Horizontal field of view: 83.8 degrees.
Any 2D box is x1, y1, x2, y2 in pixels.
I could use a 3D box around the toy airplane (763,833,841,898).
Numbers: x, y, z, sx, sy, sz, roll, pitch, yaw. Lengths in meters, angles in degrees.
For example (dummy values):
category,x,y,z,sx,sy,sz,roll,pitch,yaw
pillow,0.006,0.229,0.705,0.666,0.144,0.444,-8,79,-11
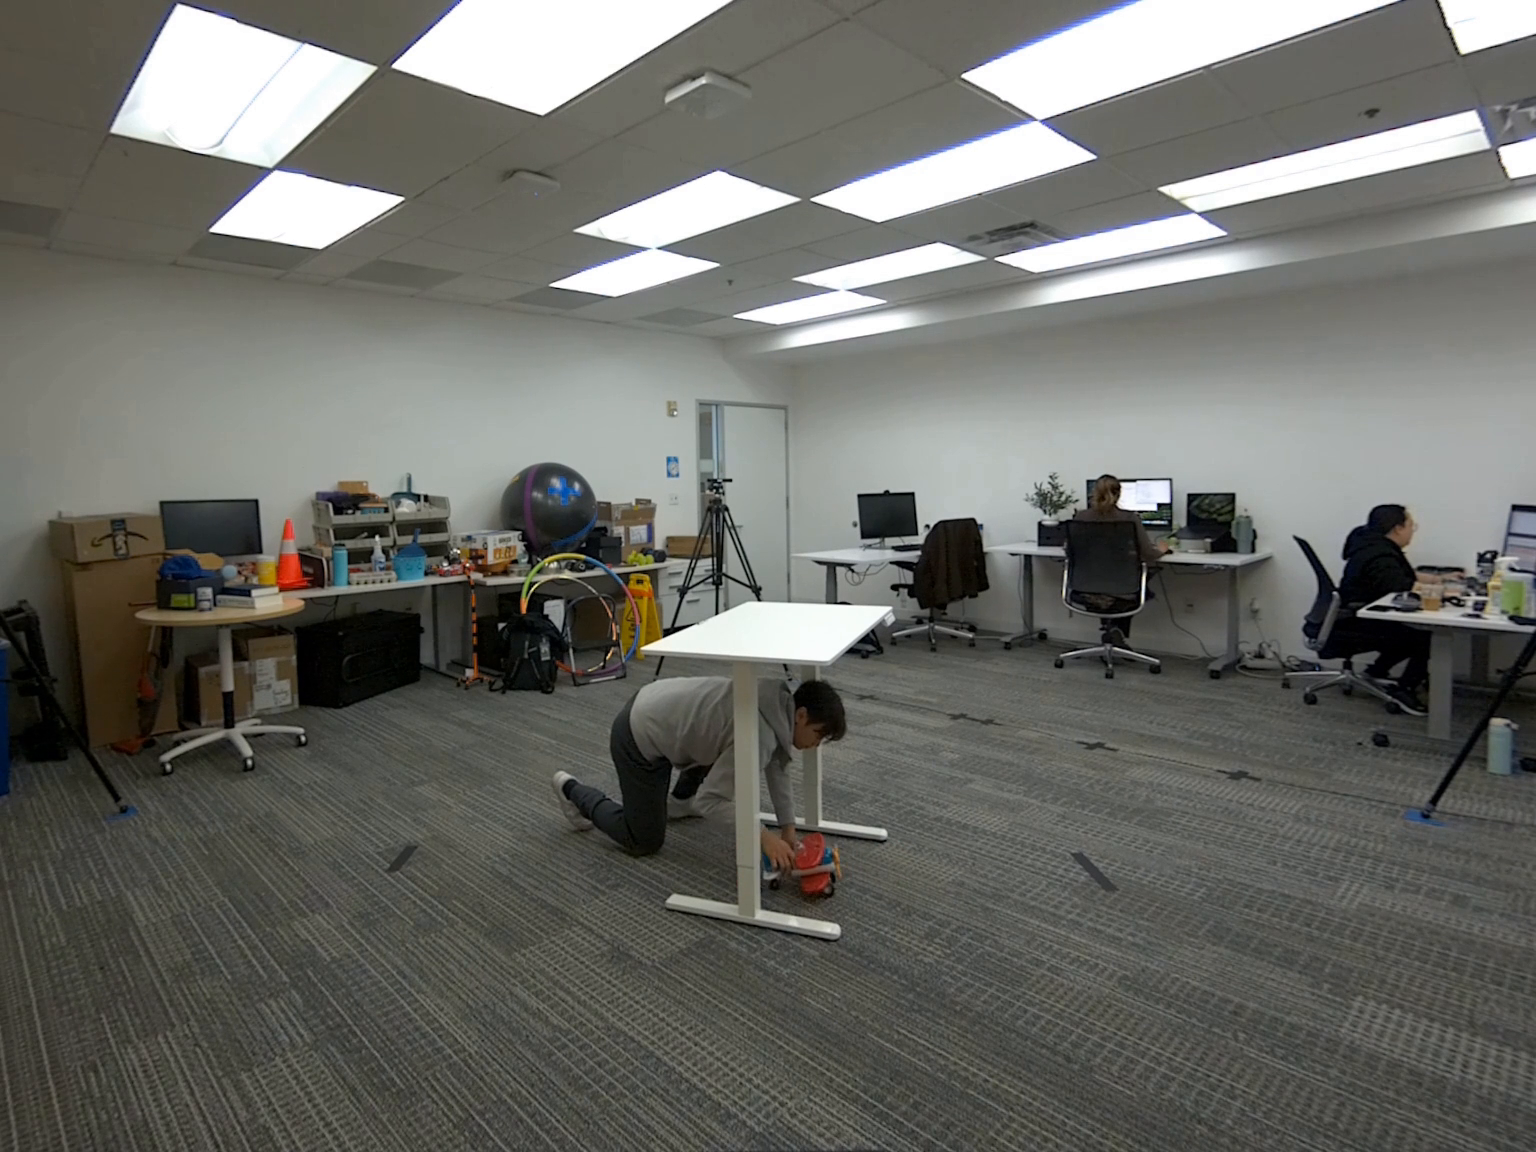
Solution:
category,x,y,z,sx,sy,sz,roll,pitch,yaw
toy airplane,0.115,0.998,2.880,0.255,0.156,0.256,-1,5,-17
